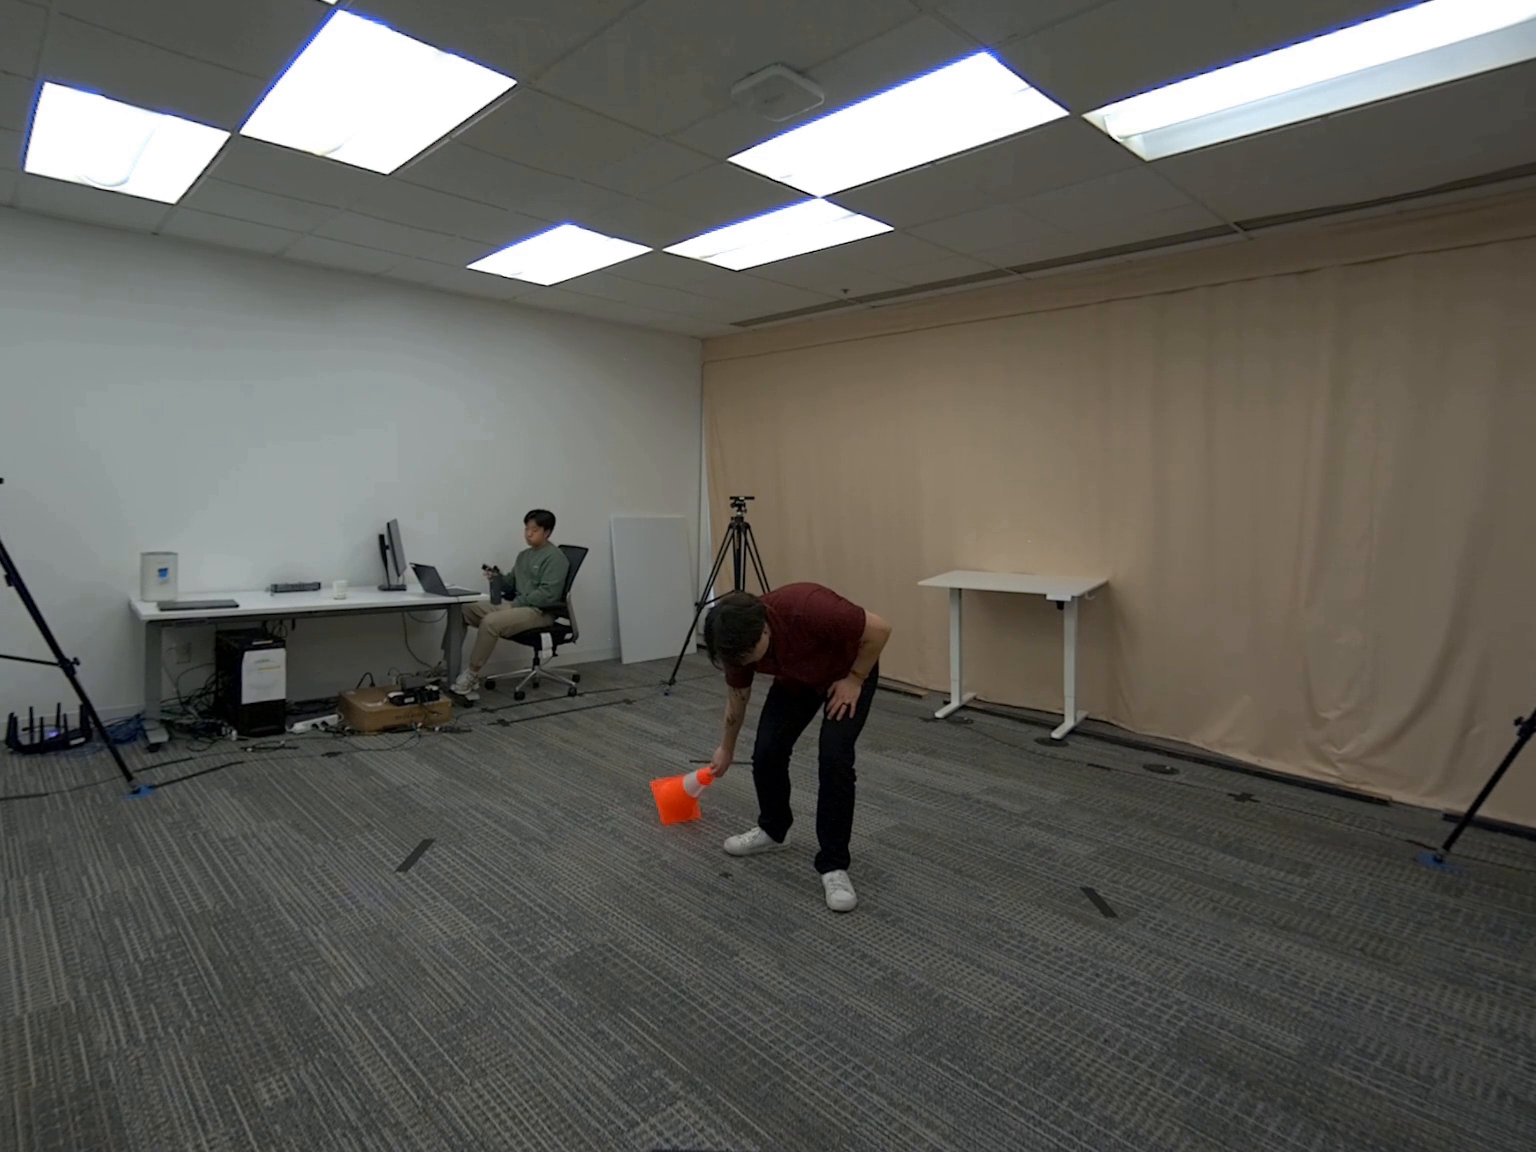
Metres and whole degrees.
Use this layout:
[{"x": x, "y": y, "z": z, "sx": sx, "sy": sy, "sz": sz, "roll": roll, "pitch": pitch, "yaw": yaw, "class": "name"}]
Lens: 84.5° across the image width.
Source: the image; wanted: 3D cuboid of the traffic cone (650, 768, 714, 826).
[{"x": -0.300, "y": 0.874, "z": 3.539, "sx": 0.200, "sy": 0.208, "sz": 0.384, "roll": 4, "pitch": -33, "yaw": -36, "class": "traffic cone"}]
